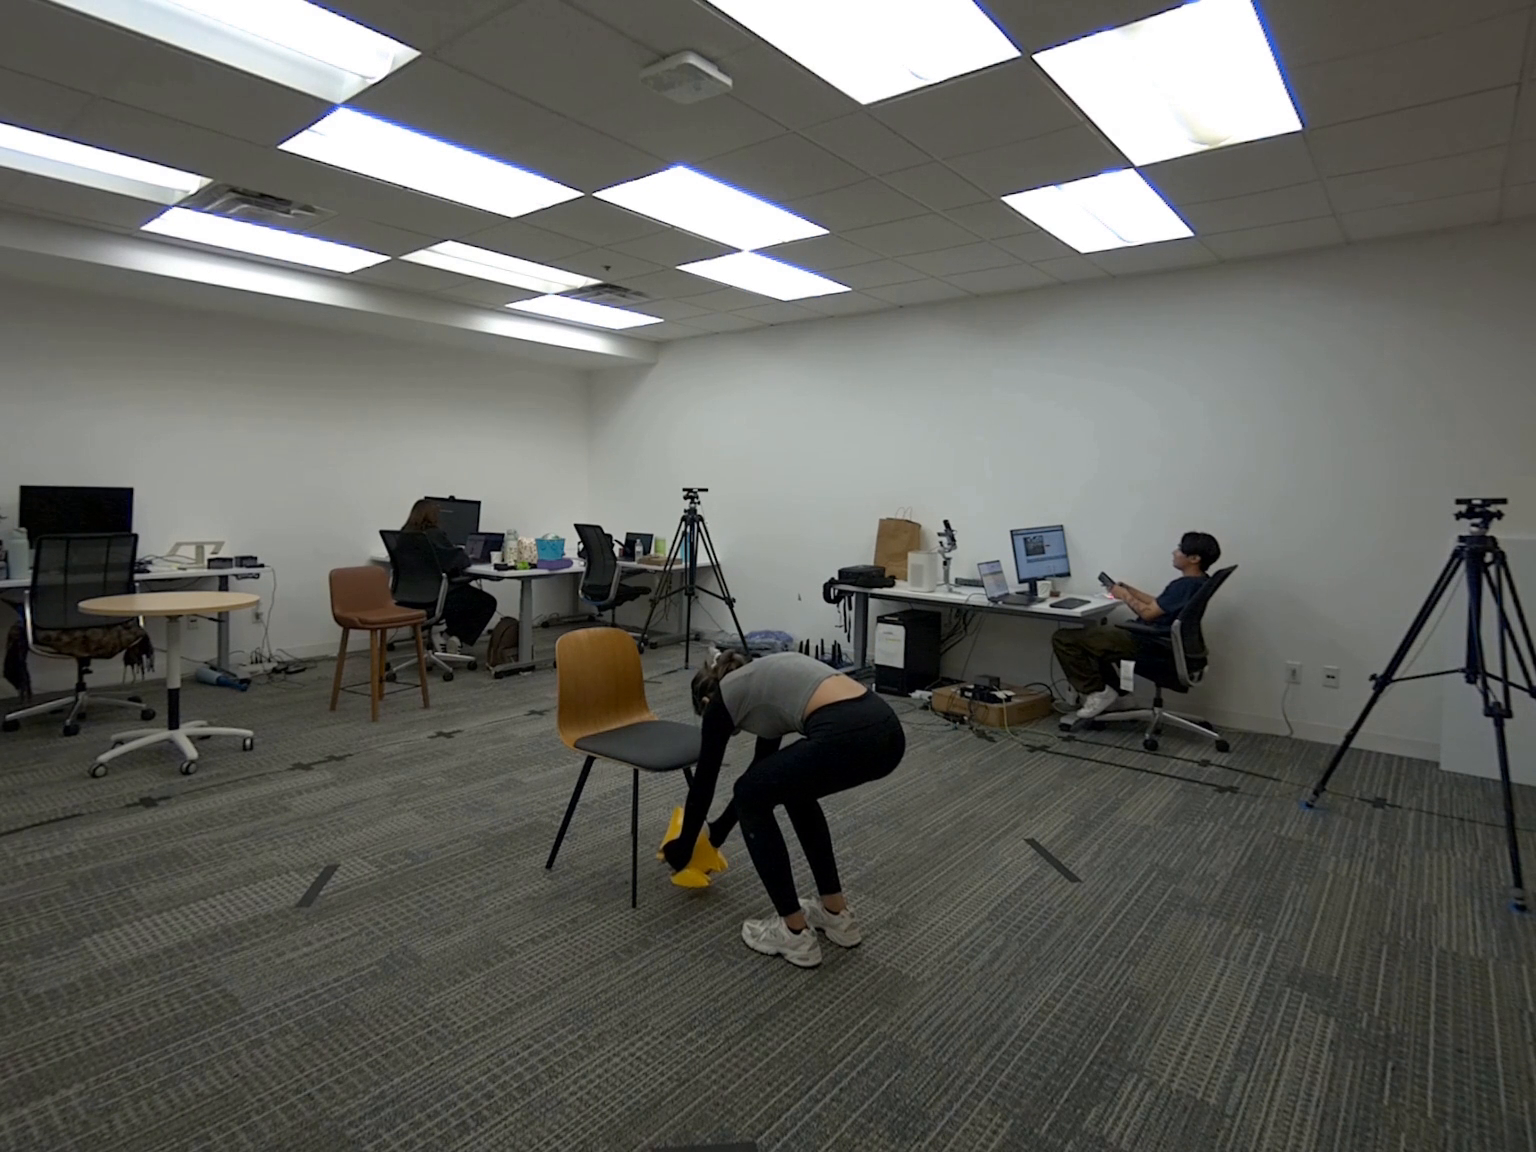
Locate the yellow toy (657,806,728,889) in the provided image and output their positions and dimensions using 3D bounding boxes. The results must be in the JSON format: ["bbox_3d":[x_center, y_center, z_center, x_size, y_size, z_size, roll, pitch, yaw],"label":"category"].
[{"bbox_3d":[-0.262,0.905,2.925,0.198,0.229,0.201,1,9,30],"label":"yellow toy"}]
